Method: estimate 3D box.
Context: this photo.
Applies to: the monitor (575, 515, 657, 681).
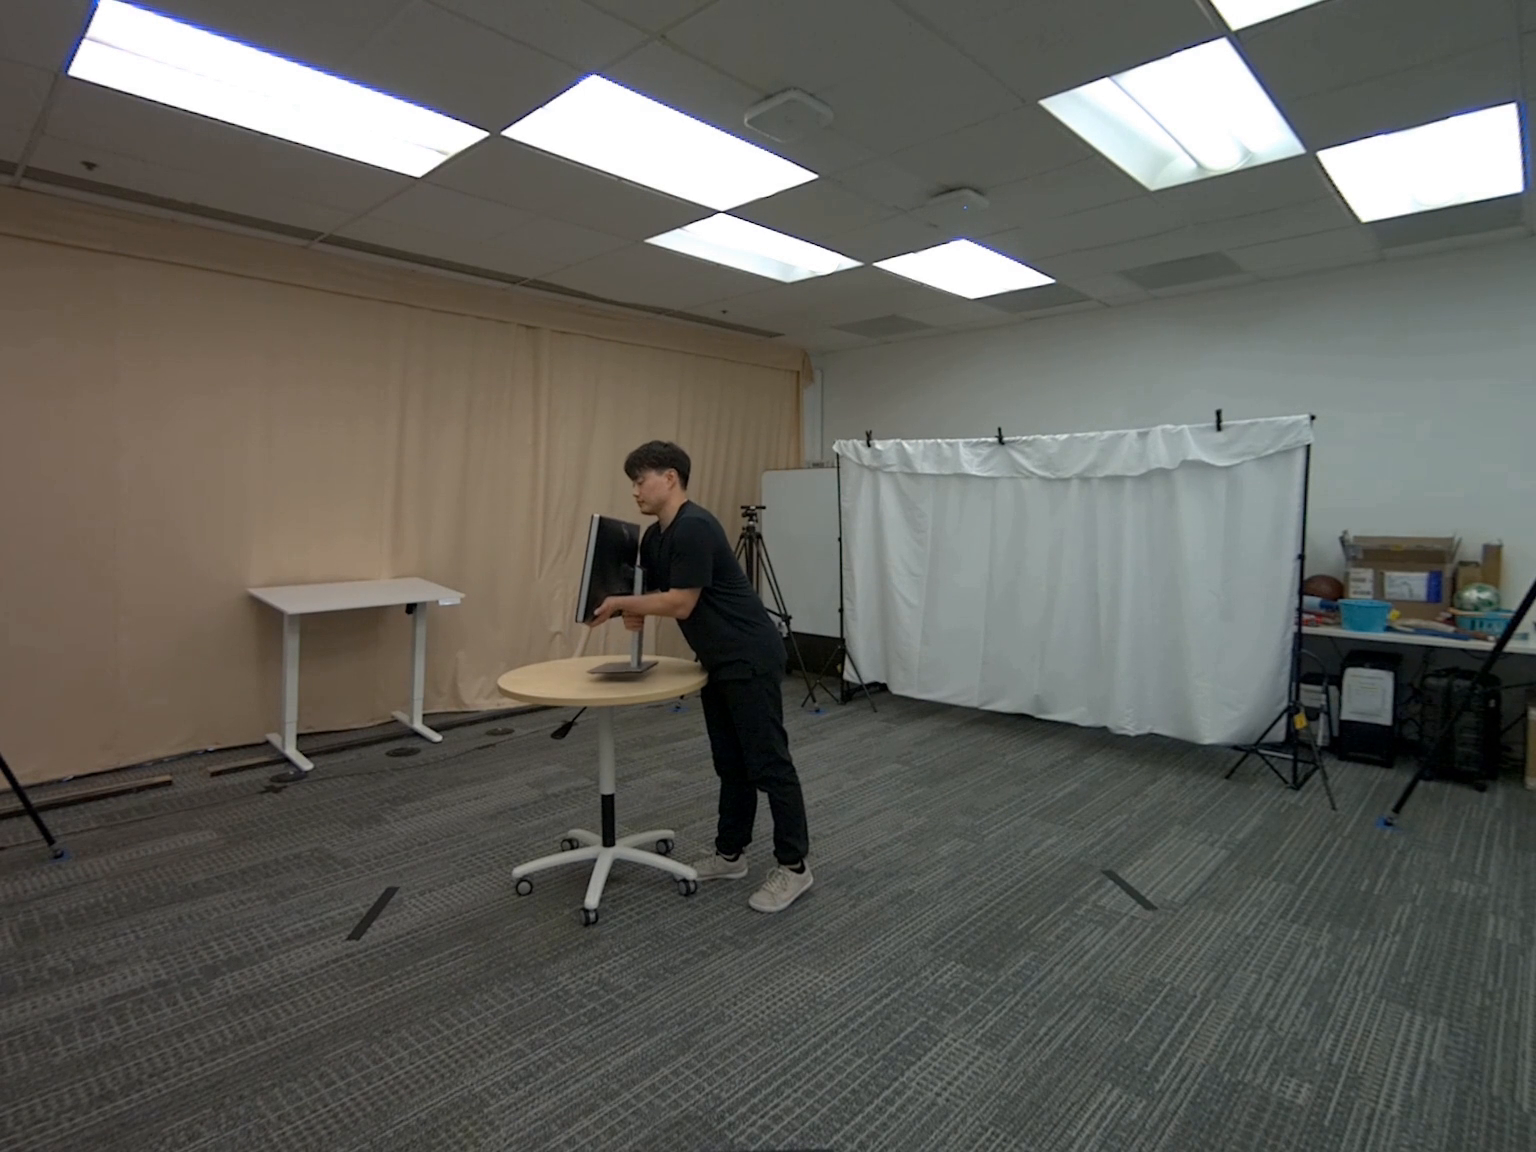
[{"bbox_3d":[-0.526,0.076,3.038,0.188,0.523,0.535,-3,0,5],"label":"monitor"}]
